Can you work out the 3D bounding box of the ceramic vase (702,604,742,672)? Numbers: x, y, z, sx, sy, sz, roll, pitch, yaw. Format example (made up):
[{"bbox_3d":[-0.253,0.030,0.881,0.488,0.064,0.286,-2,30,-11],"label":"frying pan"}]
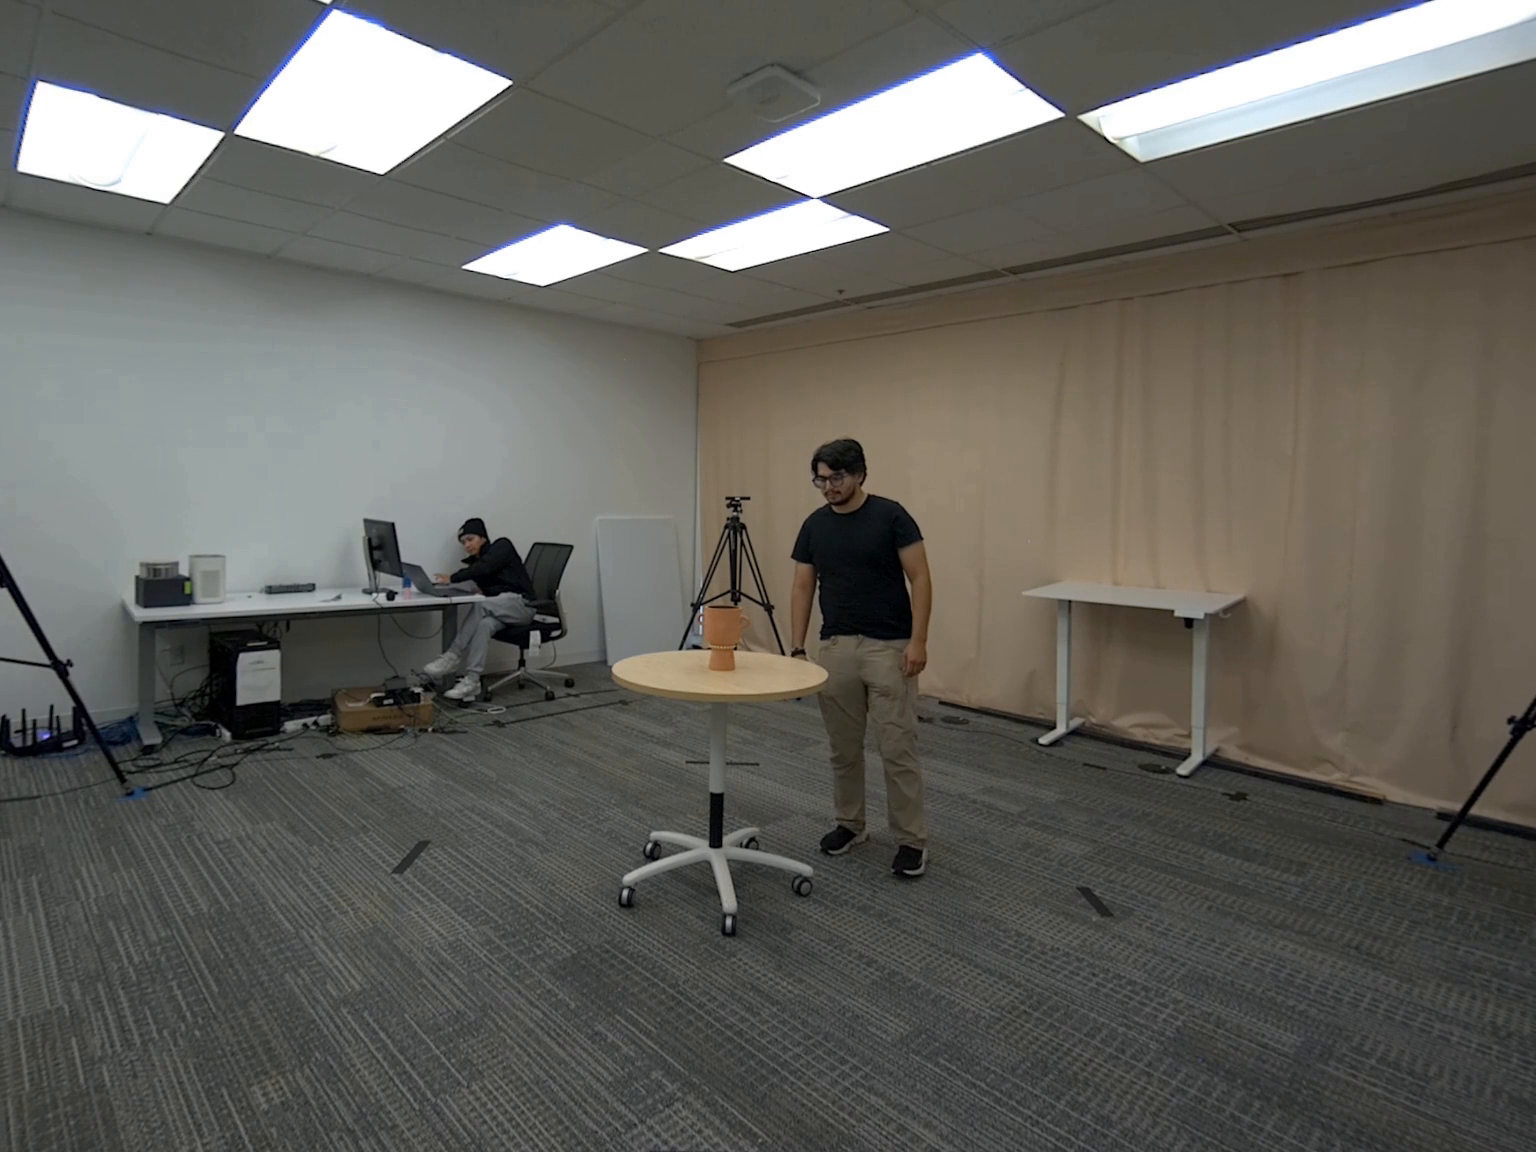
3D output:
[{"bbox_3d":[-0.168,0.222,3.006,0.132,0.219,0.162,-1,4,-33],"label":"ceramic vase"}]
